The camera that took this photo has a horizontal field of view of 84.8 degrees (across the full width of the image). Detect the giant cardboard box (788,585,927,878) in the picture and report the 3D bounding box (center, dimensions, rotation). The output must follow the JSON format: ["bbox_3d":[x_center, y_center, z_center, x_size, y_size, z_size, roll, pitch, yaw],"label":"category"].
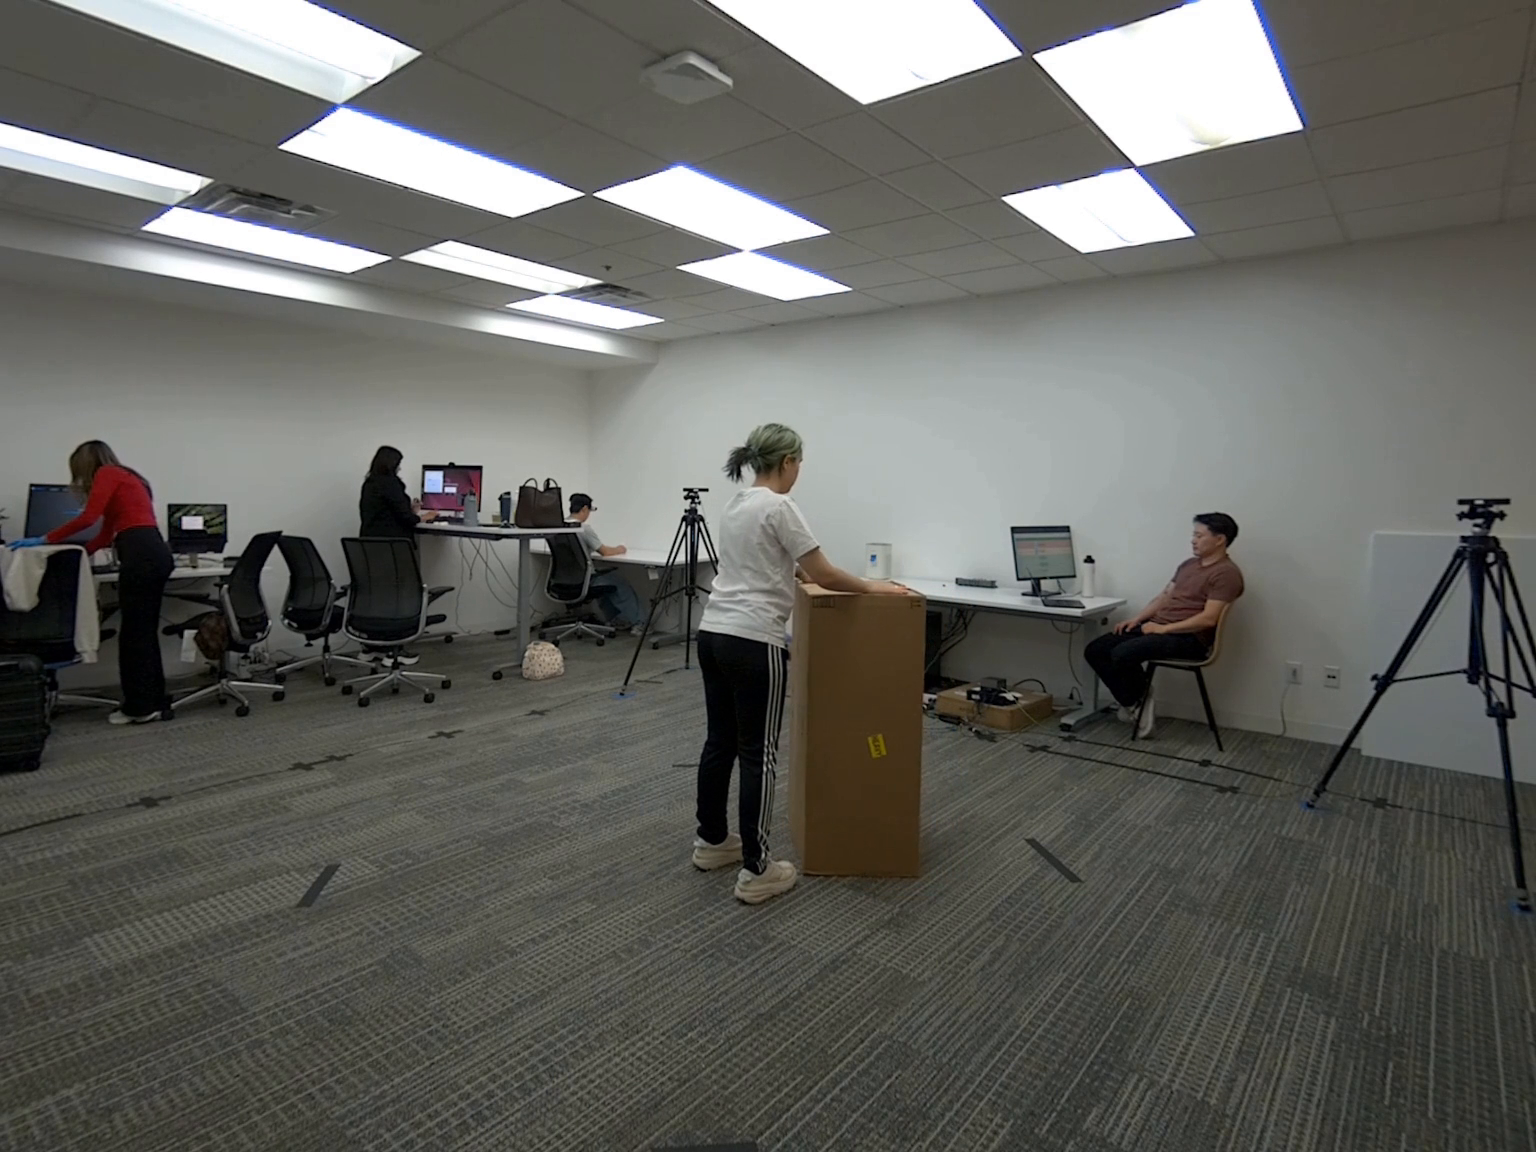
[{"bbox_3d":[0.324,0.551,3.342,0.445,1.025,0.587,1,3,-4],"label":"giant cardboard box"}]
